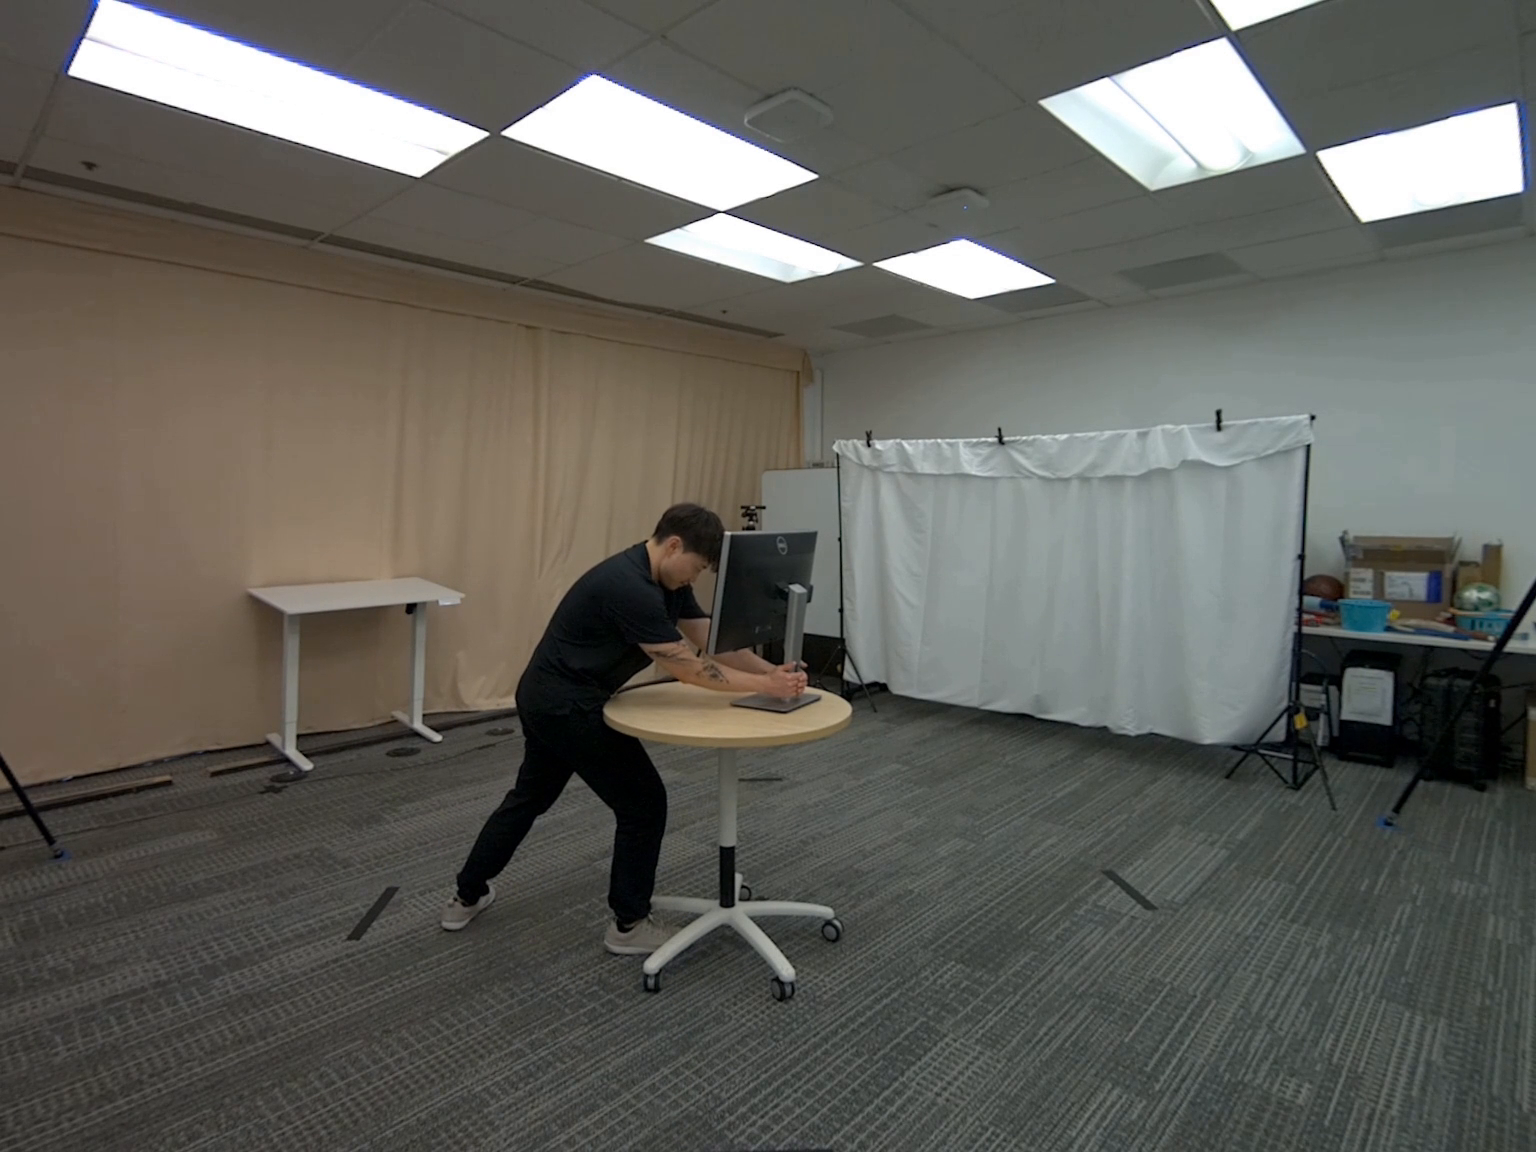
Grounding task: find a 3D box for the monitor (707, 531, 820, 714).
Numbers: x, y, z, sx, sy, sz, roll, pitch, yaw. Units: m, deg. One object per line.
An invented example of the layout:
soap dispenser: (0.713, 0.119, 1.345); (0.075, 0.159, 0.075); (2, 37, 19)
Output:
monitor: (0.027, 0.133, 2.624); (0.192, 0.521, 0.525); (0, 4, 29)
